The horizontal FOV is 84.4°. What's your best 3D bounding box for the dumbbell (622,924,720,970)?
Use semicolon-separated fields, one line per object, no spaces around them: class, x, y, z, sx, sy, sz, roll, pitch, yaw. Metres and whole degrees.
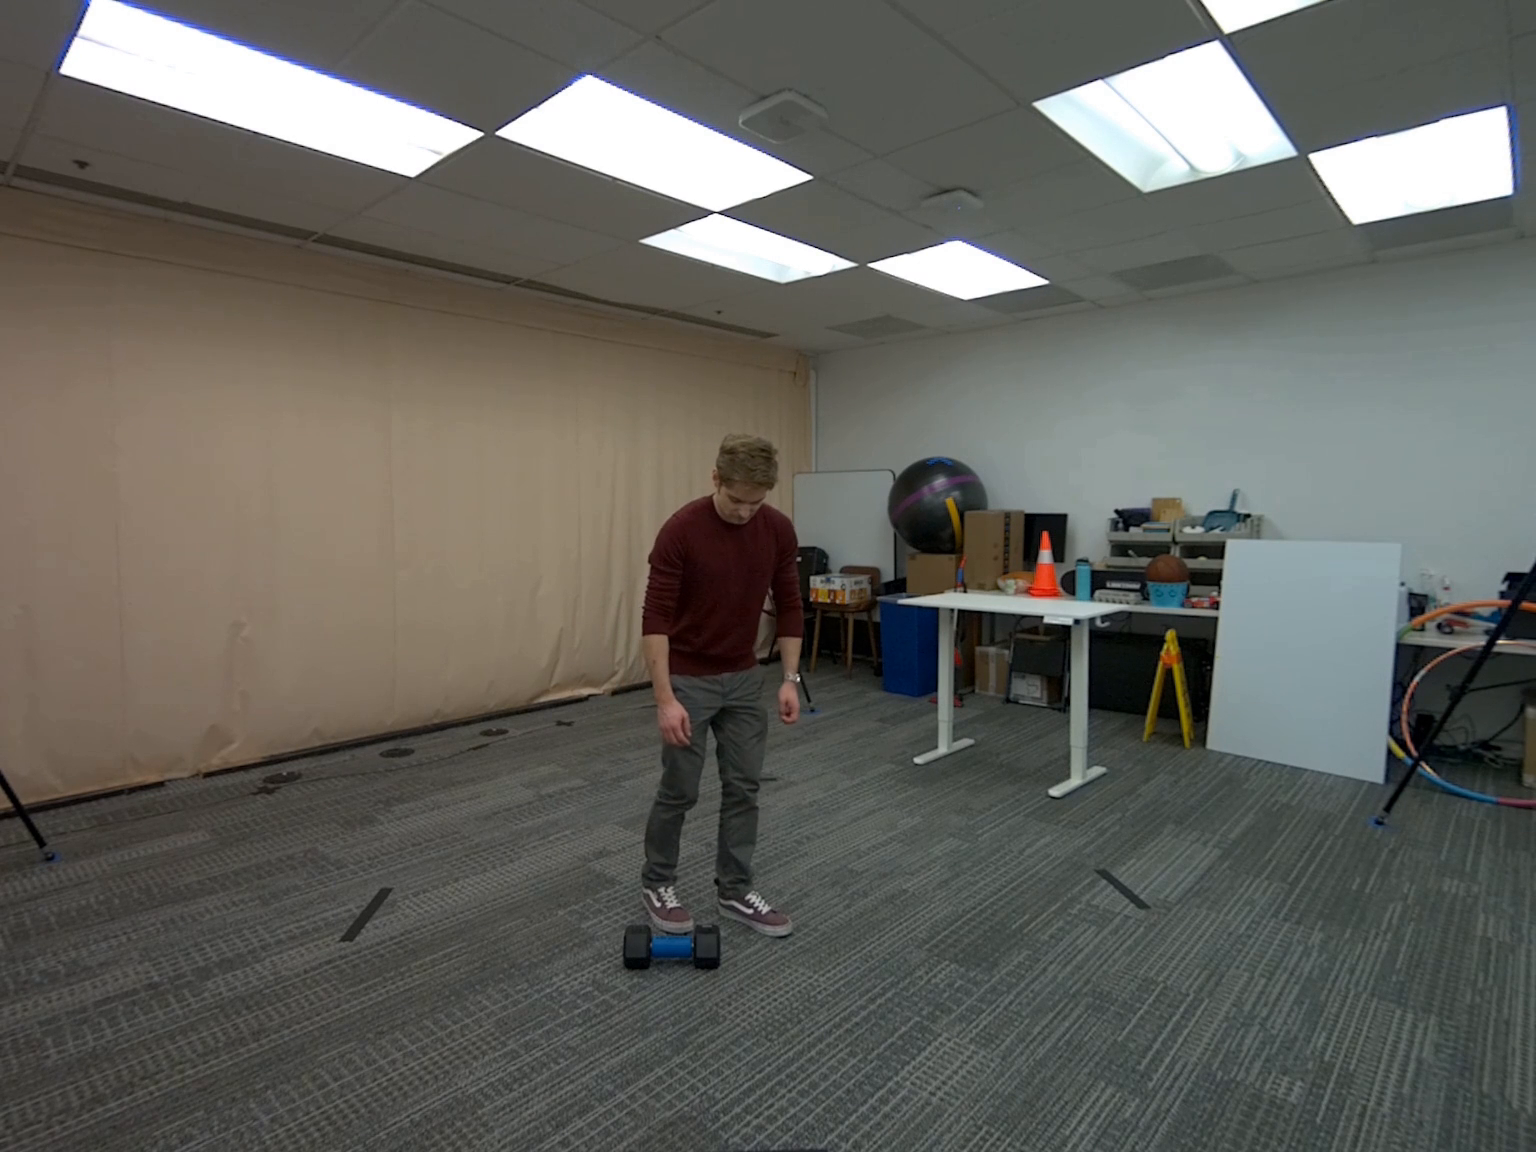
dumbbell;-0.290;1.128;2.558;0.293;0.125;0.107;0;-25;0
